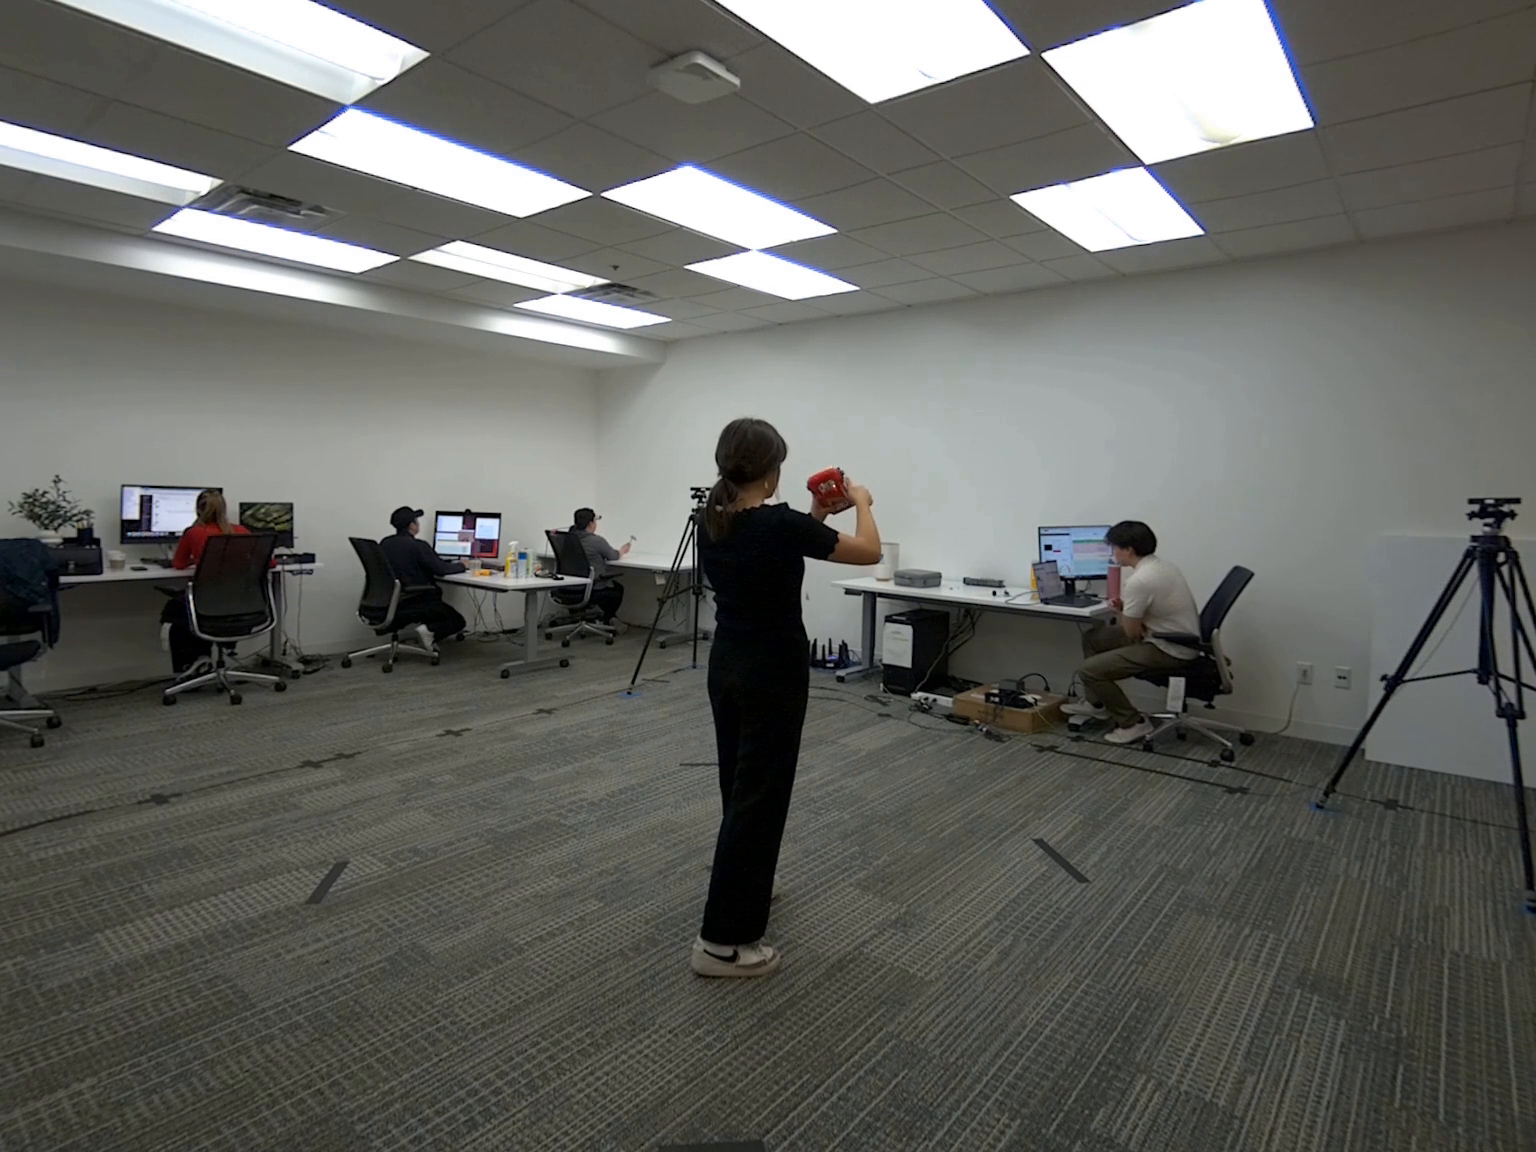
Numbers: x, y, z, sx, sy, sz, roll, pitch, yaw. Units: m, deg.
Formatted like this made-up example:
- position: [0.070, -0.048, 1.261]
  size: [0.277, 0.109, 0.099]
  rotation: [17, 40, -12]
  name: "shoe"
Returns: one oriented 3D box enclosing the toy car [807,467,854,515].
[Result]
- position: [0.198, -0.282, 2.778]
  size: [0.131, 0.085, 0.245]
  rotation: [-23, -26, 13]
  name: "toy car"
